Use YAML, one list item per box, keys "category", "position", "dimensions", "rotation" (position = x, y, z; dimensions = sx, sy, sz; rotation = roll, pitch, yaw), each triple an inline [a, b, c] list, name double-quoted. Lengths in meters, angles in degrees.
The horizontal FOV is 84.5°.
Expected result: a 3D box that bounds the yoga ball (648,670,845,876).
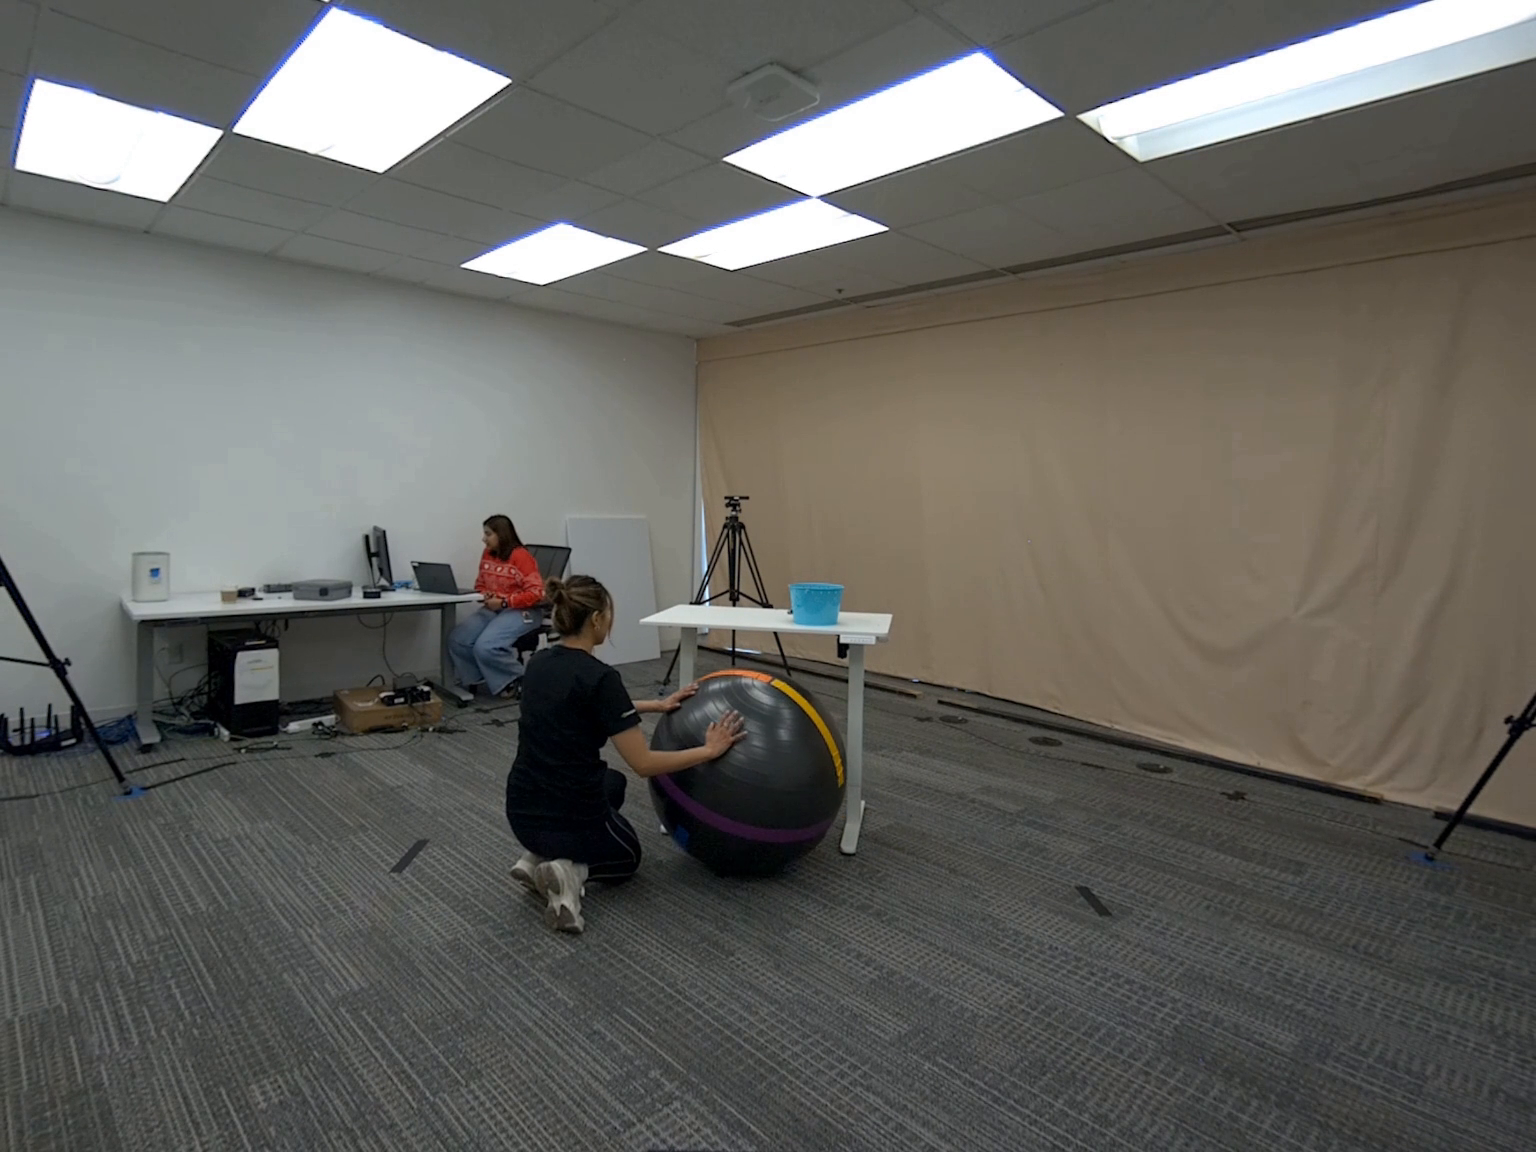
- category: "yoga ball"
  position: [-0.081, 0.731, 3.196]
  dimensions: [0.757, 0.756, 0.761]
  rotation: [1, 4, -1]
